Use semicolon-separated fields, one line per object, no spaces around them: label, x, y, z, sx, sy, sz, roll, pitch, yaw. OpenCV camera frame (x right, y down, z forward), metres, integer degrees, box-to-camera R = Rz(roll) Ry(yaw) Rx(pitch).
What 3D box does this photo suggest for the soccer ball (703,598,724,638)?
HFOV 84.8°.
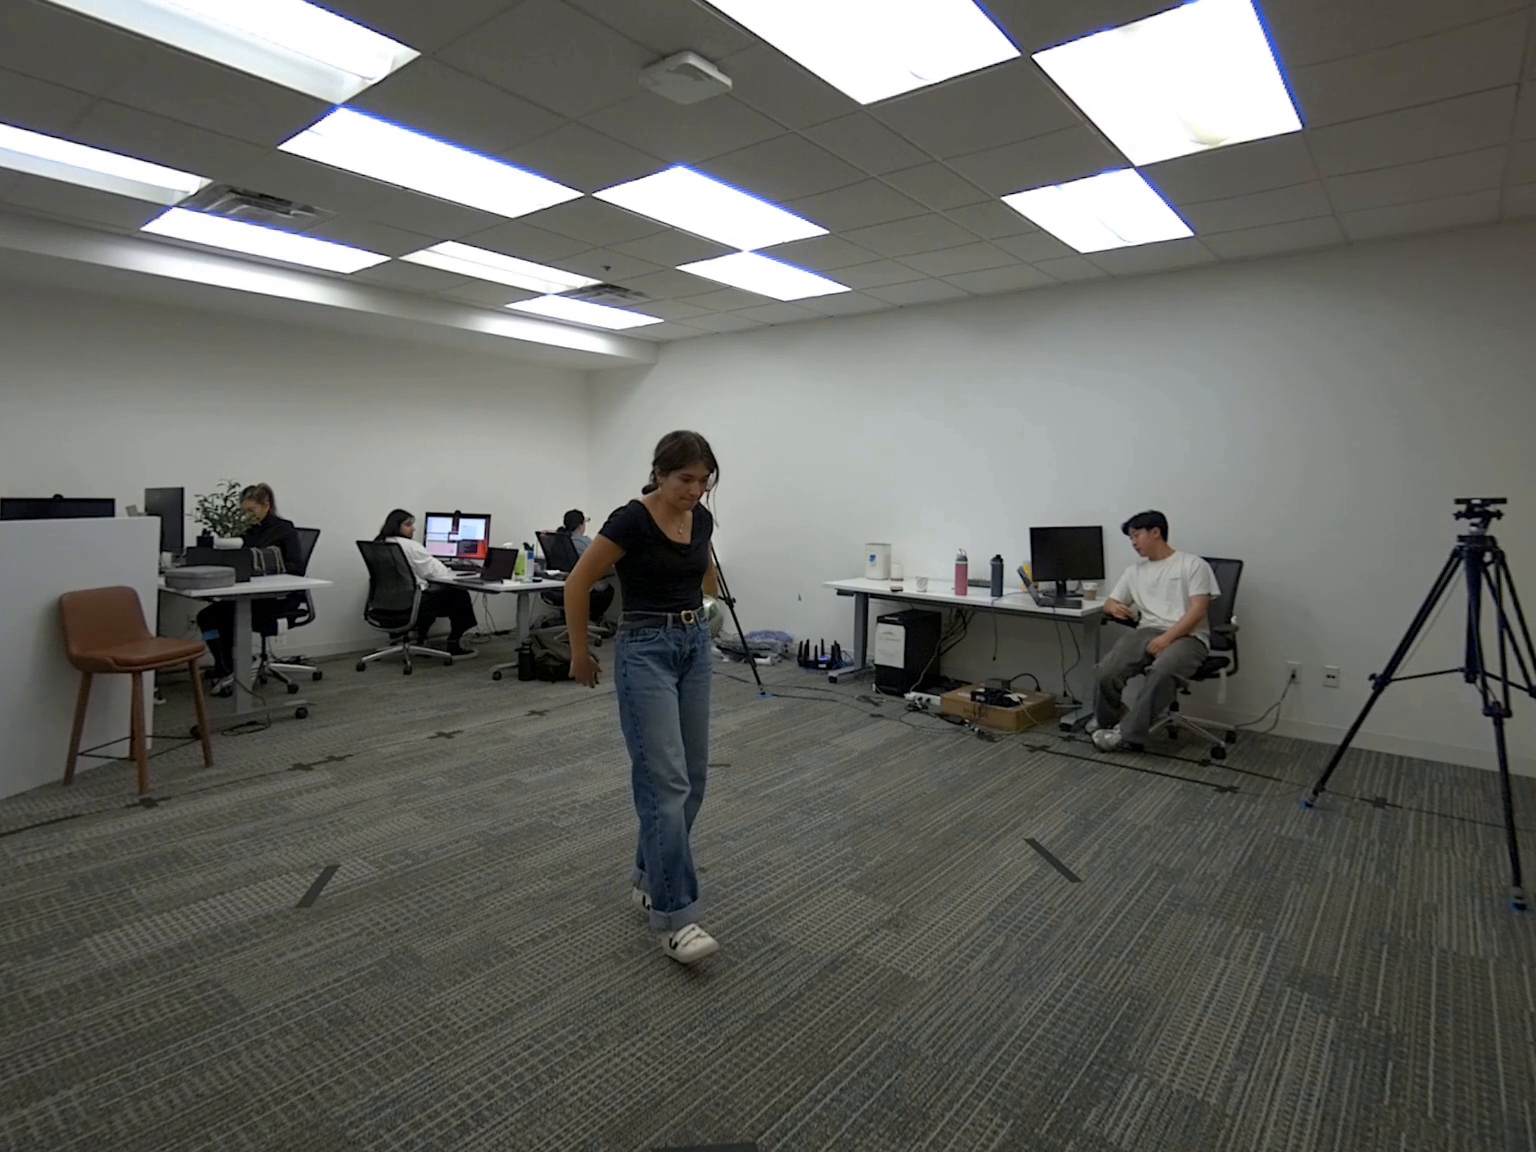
soccer ball;-0.247;0.142;2.978;0.187;0.187;0.188;1;4;-2
